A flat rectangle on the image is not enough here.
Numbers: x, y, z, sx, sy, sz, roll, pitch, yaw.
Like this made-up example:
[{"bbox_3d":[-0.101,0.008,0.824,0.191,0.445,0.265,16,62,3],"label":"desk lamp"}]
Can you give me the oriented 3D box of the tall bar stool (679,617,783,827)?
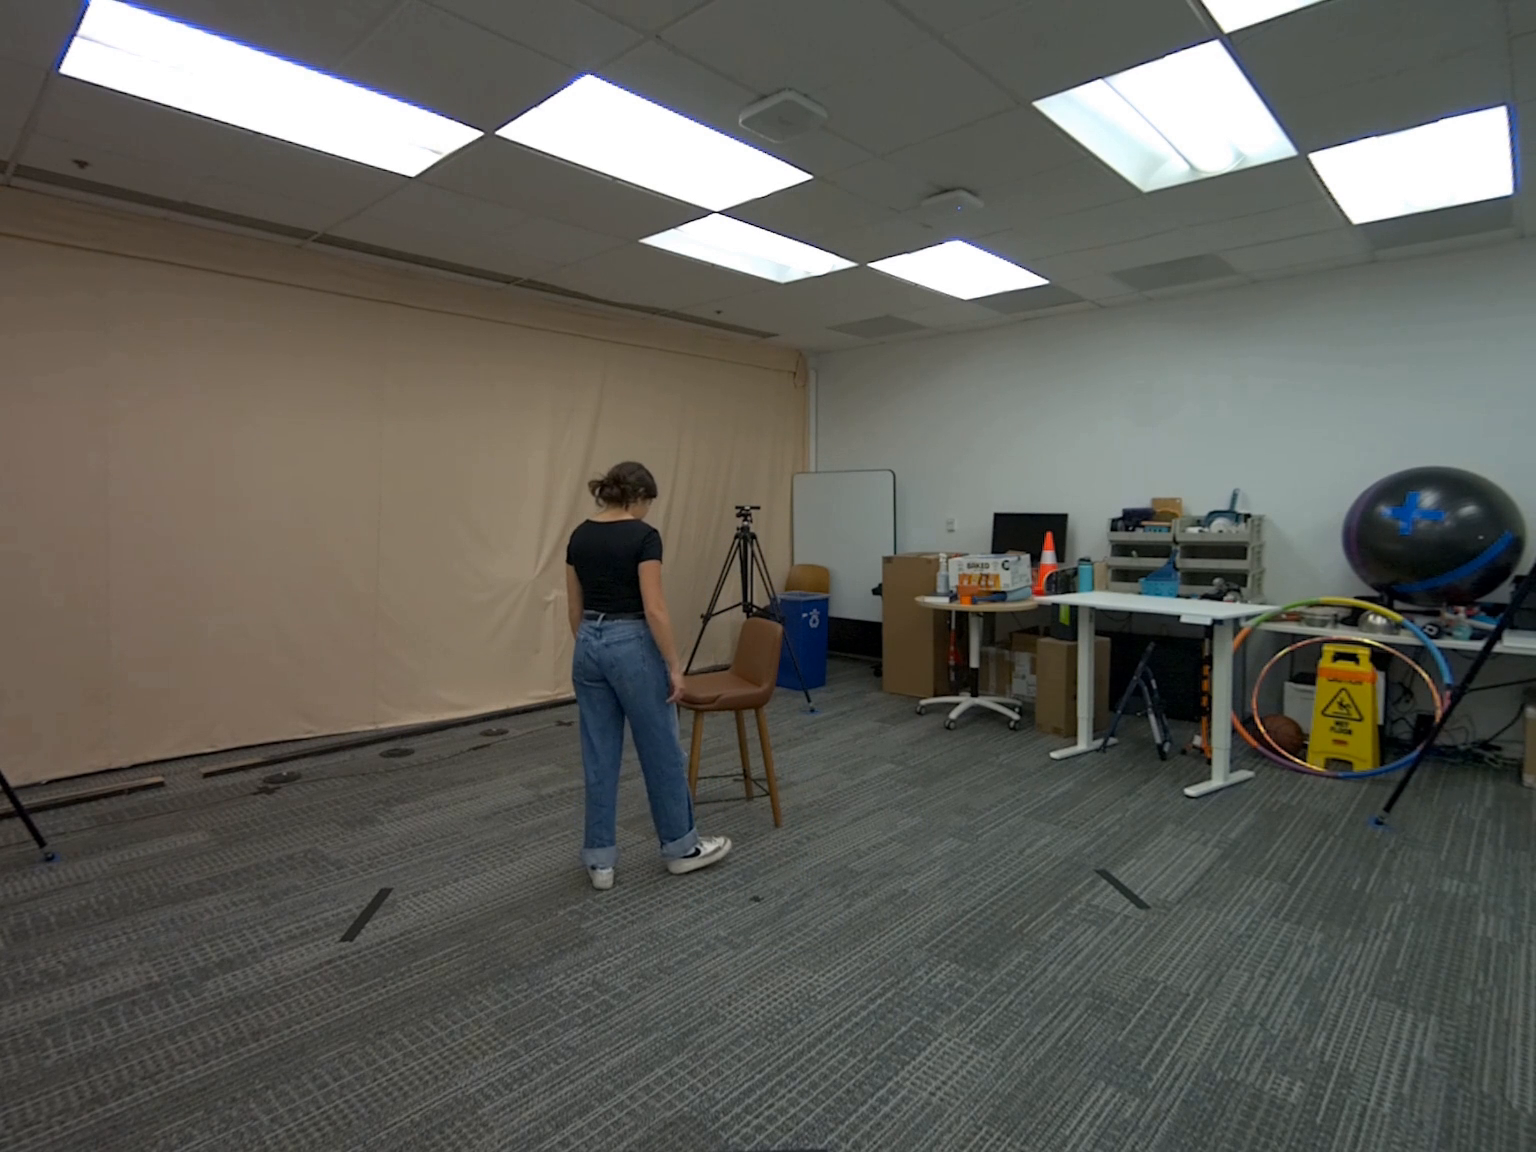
[{"bbox_3d":[-0.207,0.646,3.743,0.458,0.888,0.467,1,2,-21],"label":"tall bar stool"}]
